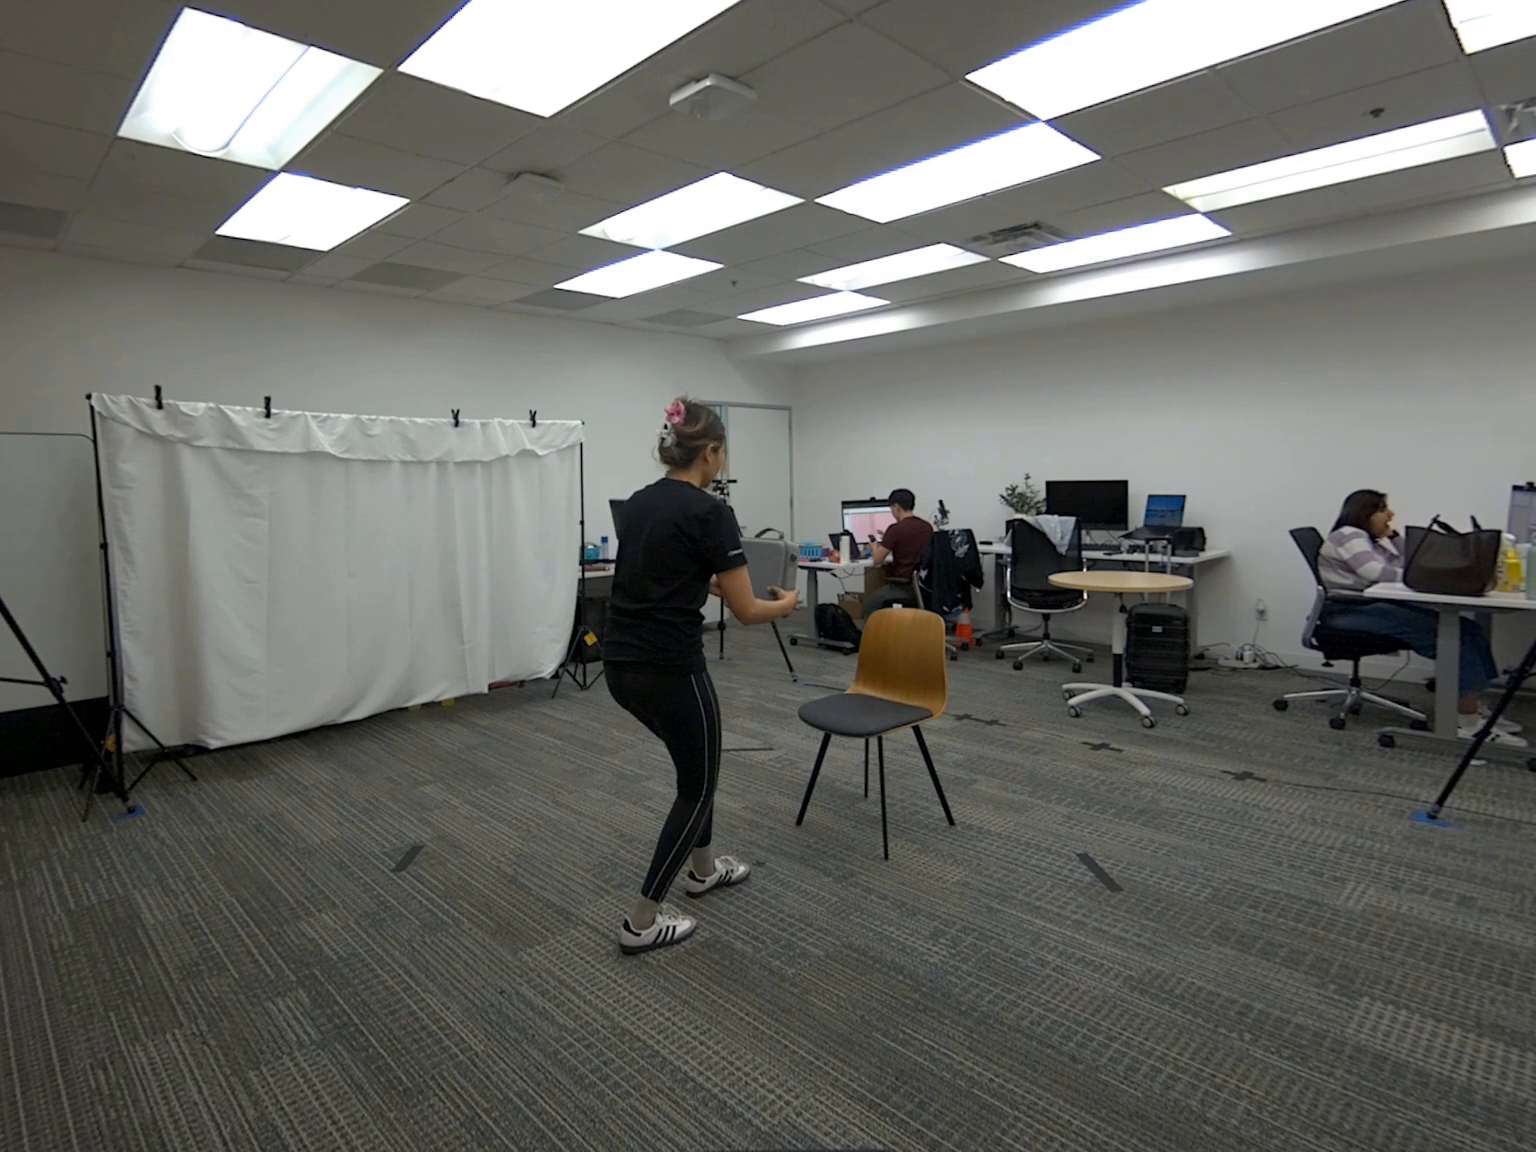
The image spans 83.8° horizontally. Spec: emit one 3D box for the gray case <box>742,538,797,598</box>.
[{"bbox_3d":[-0.027,-0.002,2.904,0.101,0.261,0.265,7,-1,-44],"label":"gray case"}]
